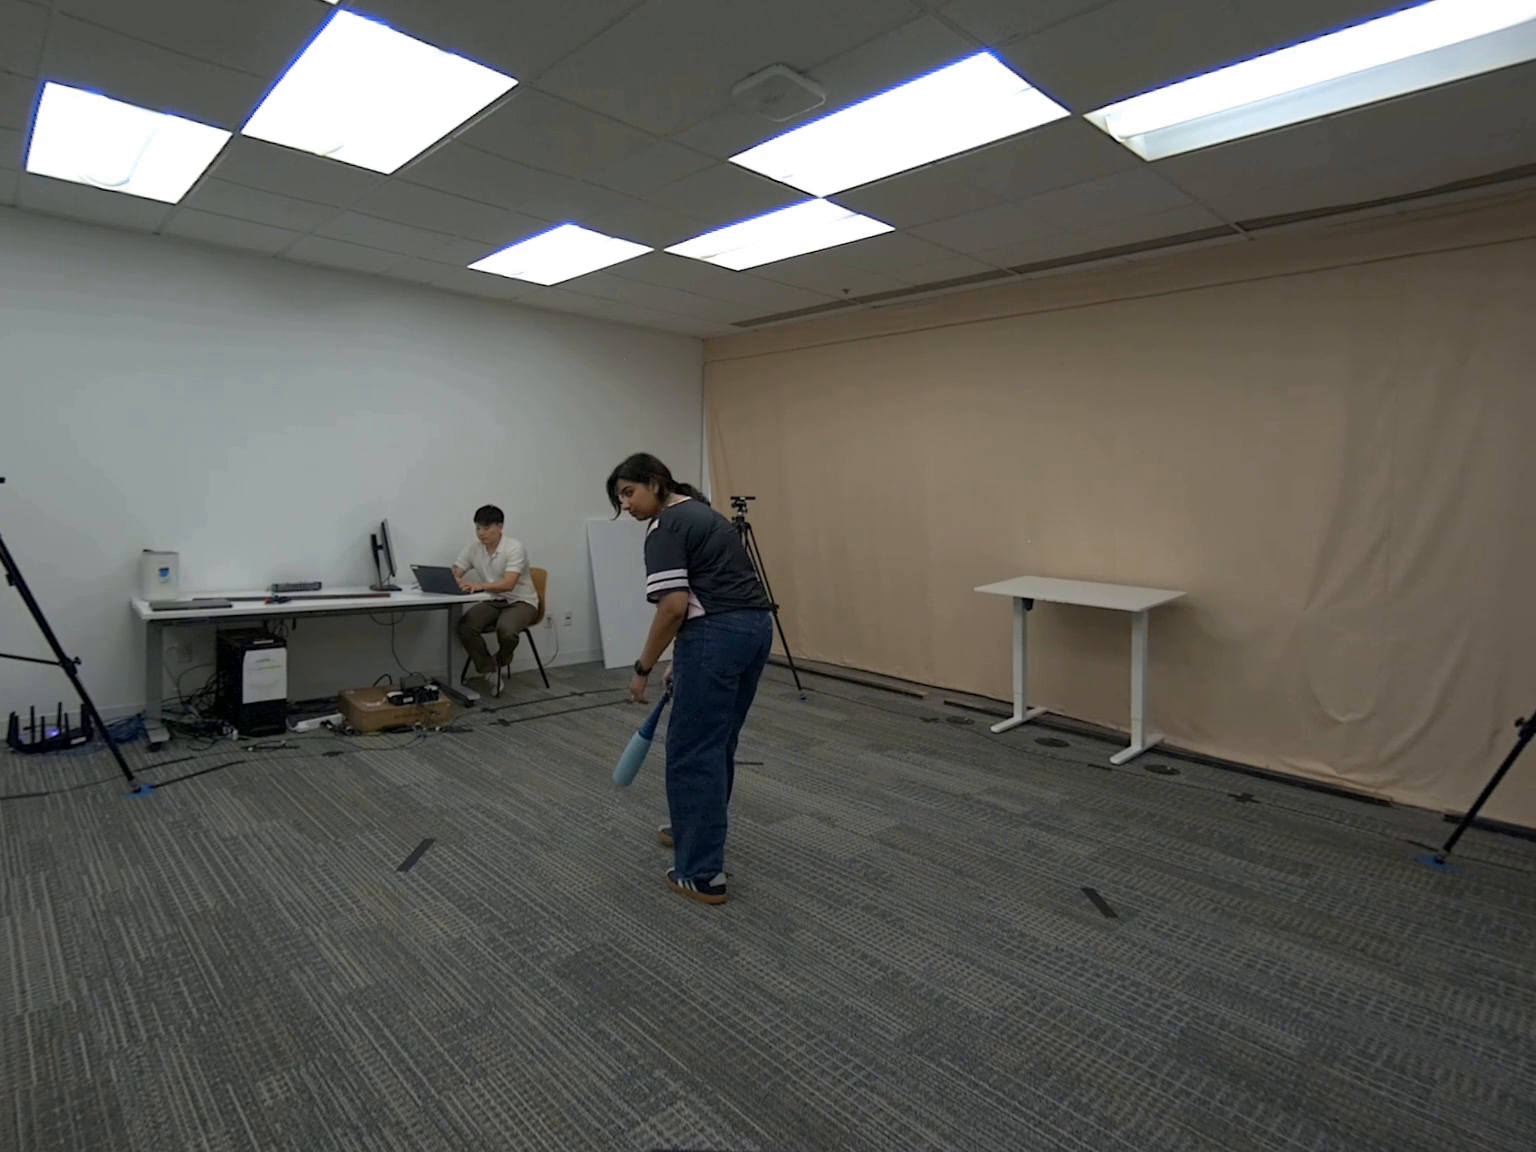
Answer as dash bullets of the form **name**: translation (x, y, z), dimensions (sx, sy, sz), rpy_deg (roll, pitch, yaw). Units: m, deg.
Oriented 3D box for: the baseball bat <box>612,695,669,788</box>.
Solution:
- **baseball bat**: translation (-0.474, 0.626, 3.349), dimensions (0.088, 0.539, 0.090), rpy_deg (22, 21, -11)
